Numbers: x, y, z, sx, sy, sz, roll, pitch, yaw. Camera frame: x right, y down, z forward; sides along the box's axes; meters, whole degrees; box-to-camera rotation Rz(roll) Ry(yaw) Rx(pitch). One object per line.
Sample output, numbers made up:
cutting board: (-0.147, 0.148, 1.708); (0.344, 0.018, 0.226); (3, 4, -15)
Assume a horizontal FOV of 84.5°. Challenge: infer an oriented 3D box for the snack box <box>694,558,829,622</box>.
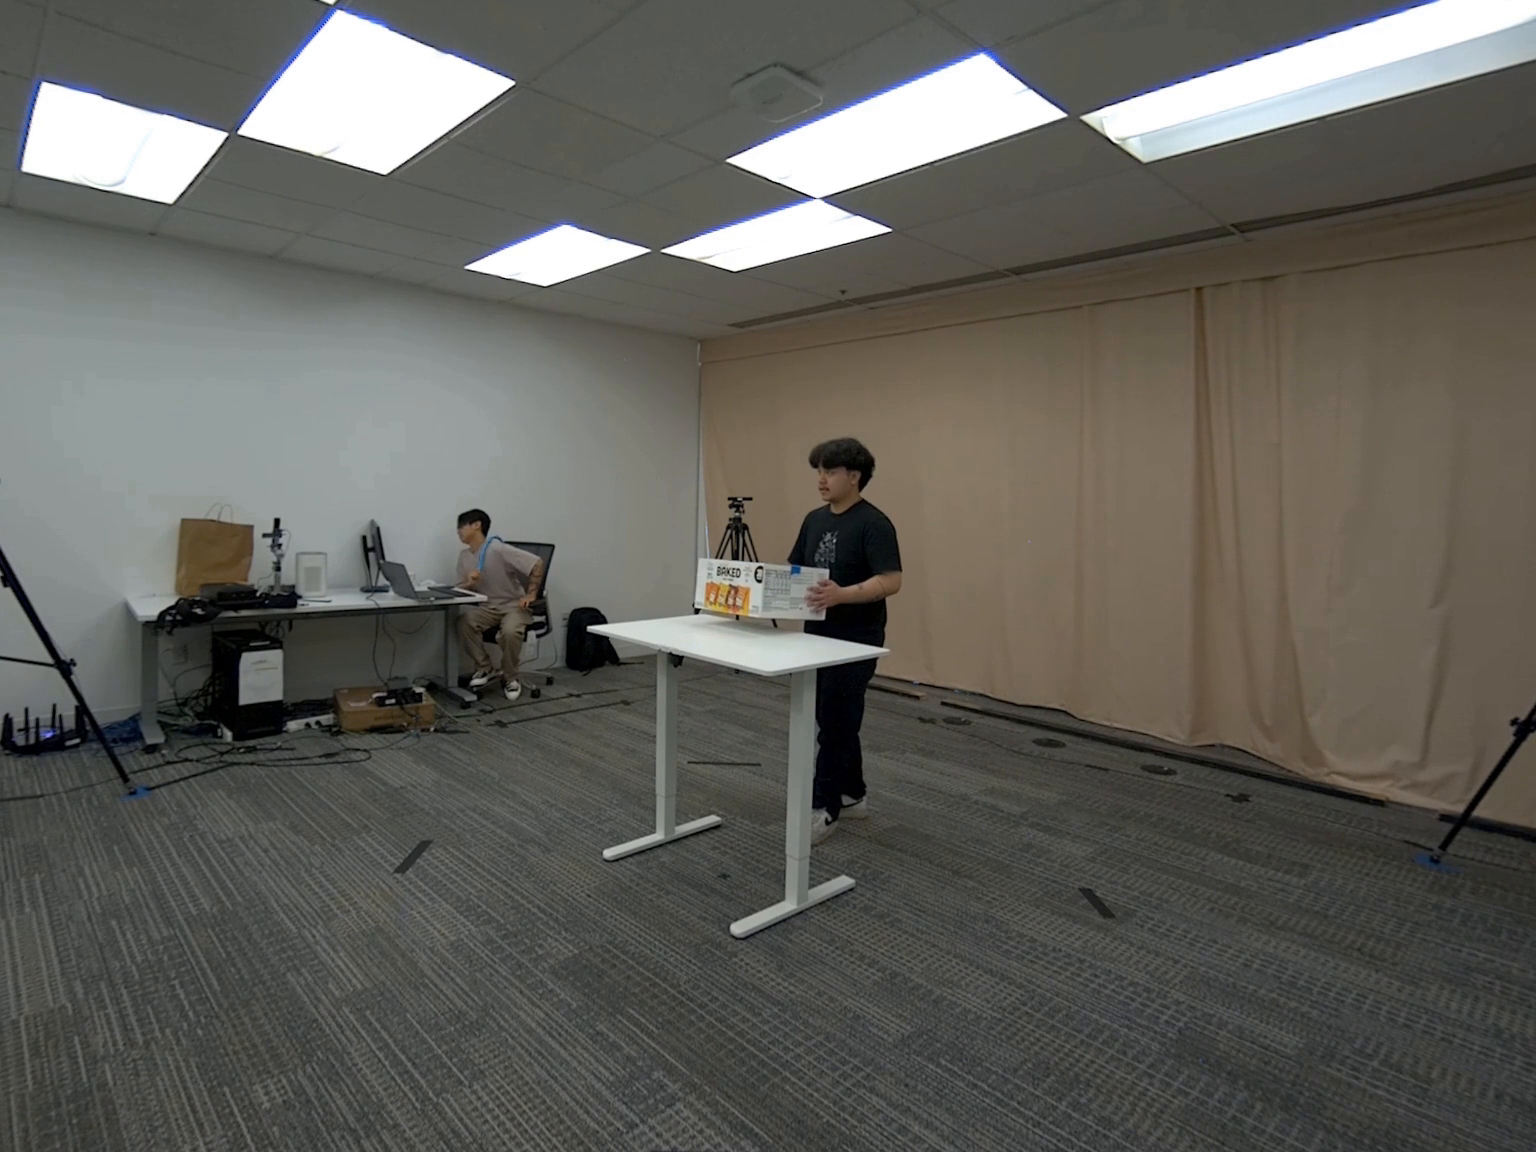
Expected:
snack box: (-0.033, 0.052, 3.337); (0.332, 0.206, 0.415); (4, 1, -40)
